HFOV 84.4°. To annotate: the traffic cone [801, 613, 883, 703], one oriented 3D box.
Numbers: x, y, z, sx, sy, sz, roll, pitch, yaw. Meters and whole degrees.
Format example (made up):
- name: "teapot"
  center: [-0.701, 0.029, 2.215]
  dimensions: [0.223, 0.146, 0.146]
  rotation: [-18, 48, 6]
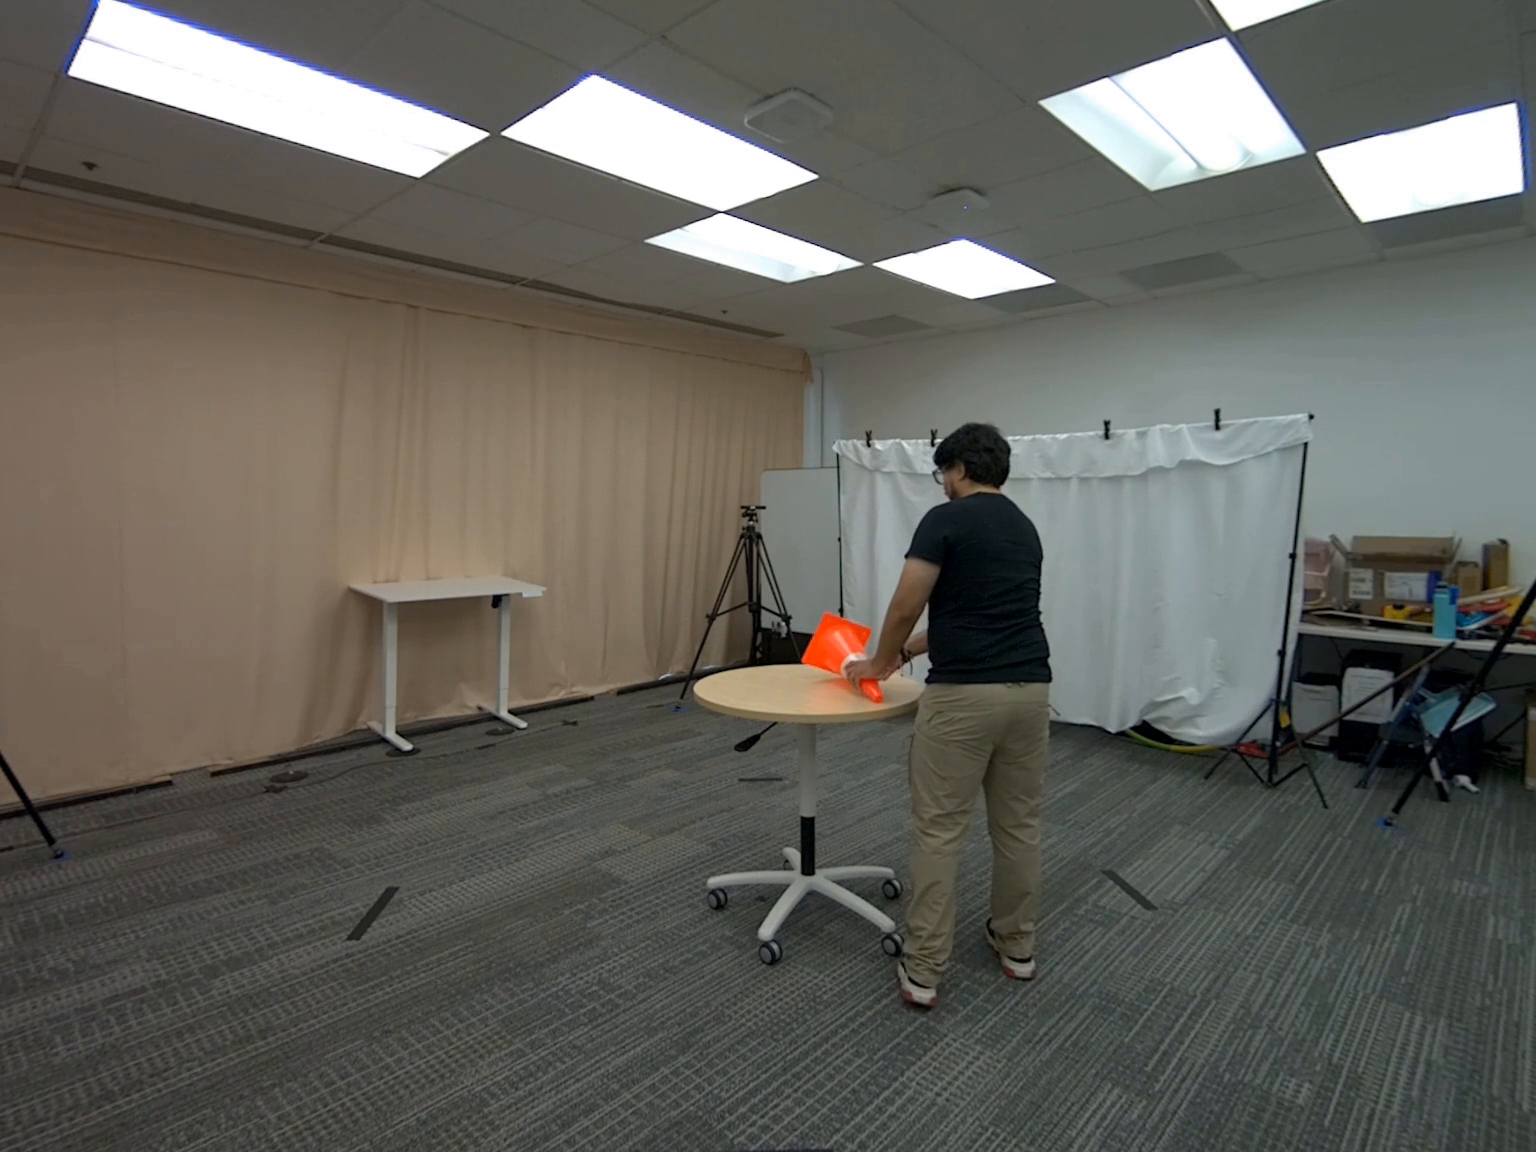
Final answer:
- name: "traffic cone"
  center: [0.293, 0.309, 2.747]
  dimensions: [0.200, 0.203, 0.393]
  rotation: [19, 13, -20]
